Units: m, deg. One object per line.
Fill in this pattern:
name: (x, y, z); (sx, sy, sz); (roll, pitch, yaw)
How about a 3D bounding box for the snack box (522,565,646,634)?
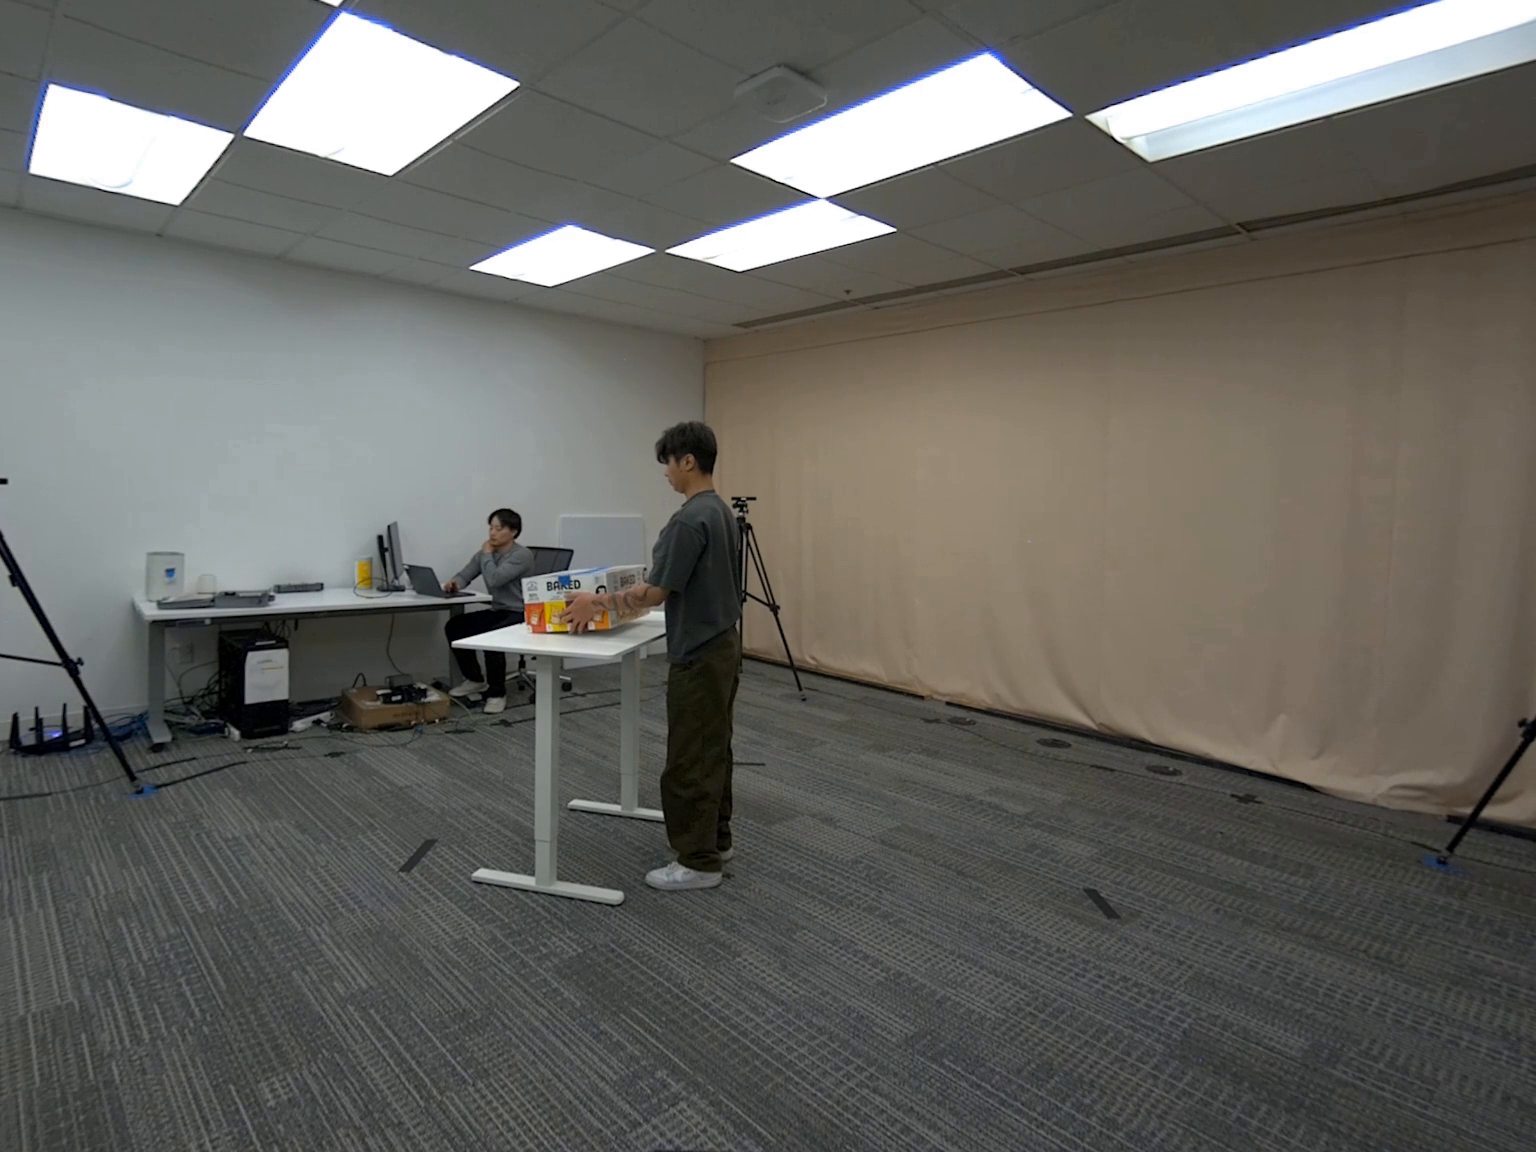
snack box: (-0.693, 0.083, 3.244); (0.344, 0.205, 0.401); (-3, 3, 14)
